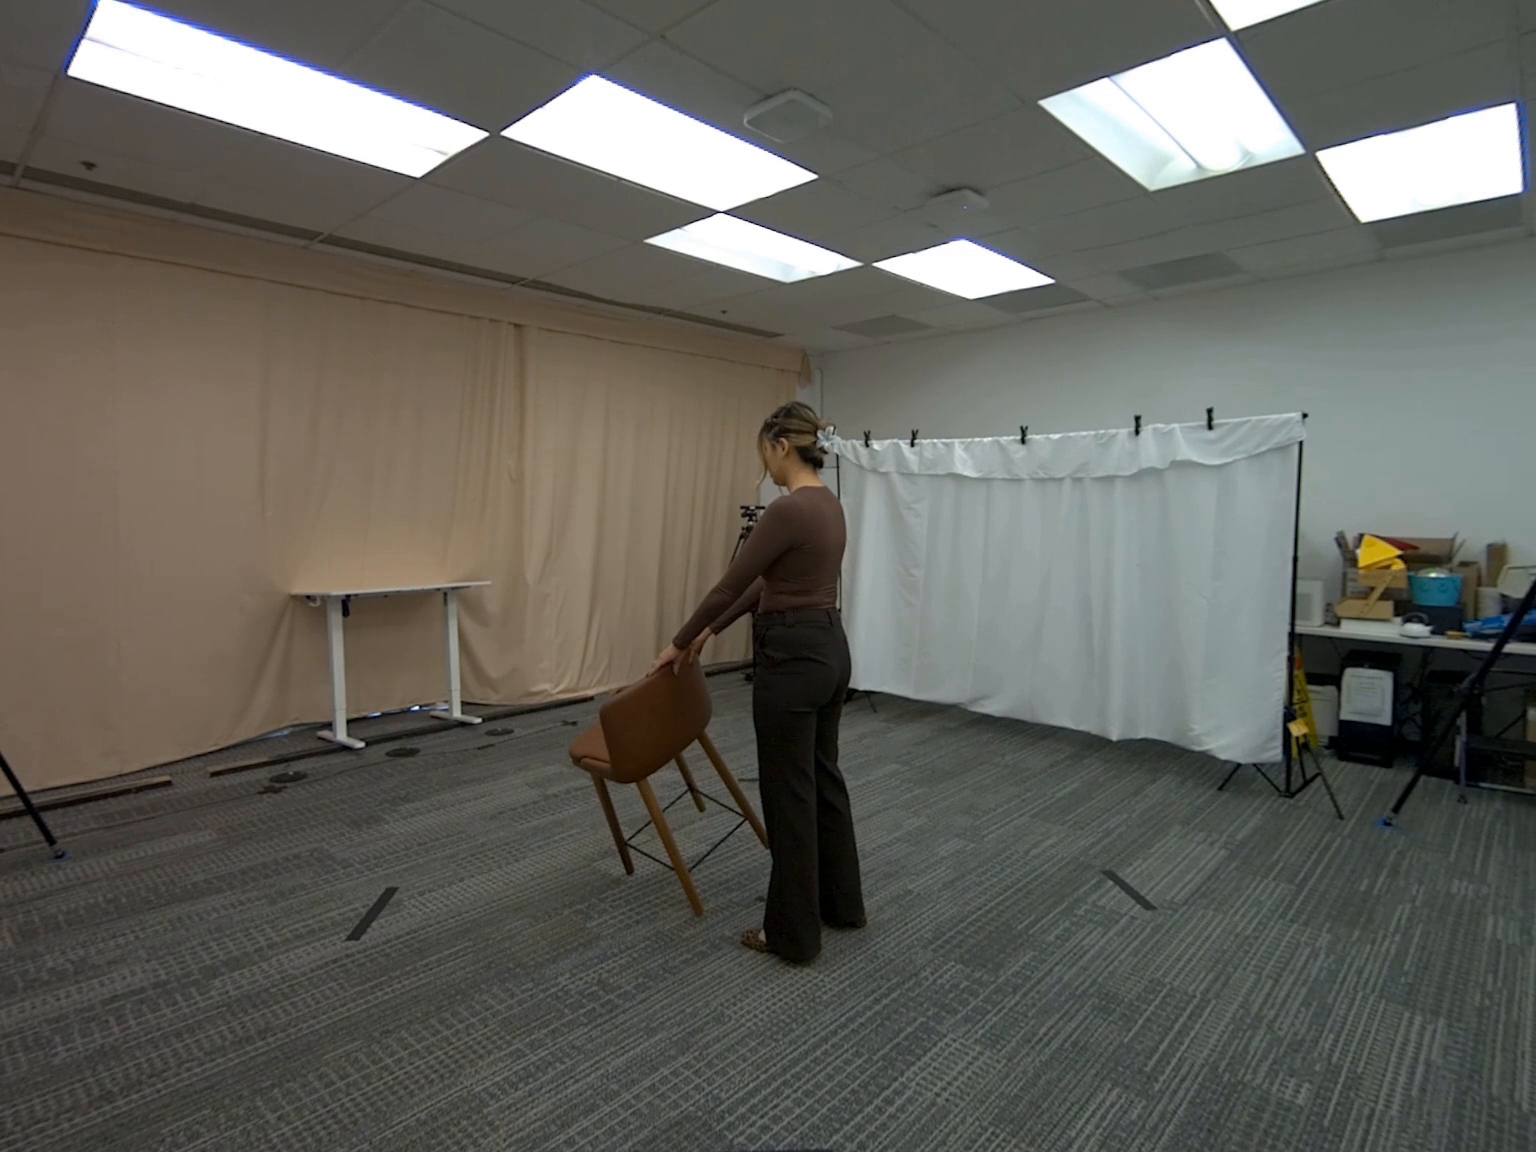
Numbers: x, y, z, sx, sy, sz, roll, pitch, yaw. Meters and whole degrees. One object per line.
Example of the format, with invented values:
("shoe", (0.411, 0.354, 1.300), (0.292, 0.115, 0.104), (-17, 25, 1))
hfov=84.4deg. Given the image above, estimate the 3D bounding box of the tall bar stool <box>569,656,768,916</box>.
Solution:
("tall bar stool", (-0.386, 0.673, 2.986), (0.449, 0.873, 0.483), (-33, 26, -33))
